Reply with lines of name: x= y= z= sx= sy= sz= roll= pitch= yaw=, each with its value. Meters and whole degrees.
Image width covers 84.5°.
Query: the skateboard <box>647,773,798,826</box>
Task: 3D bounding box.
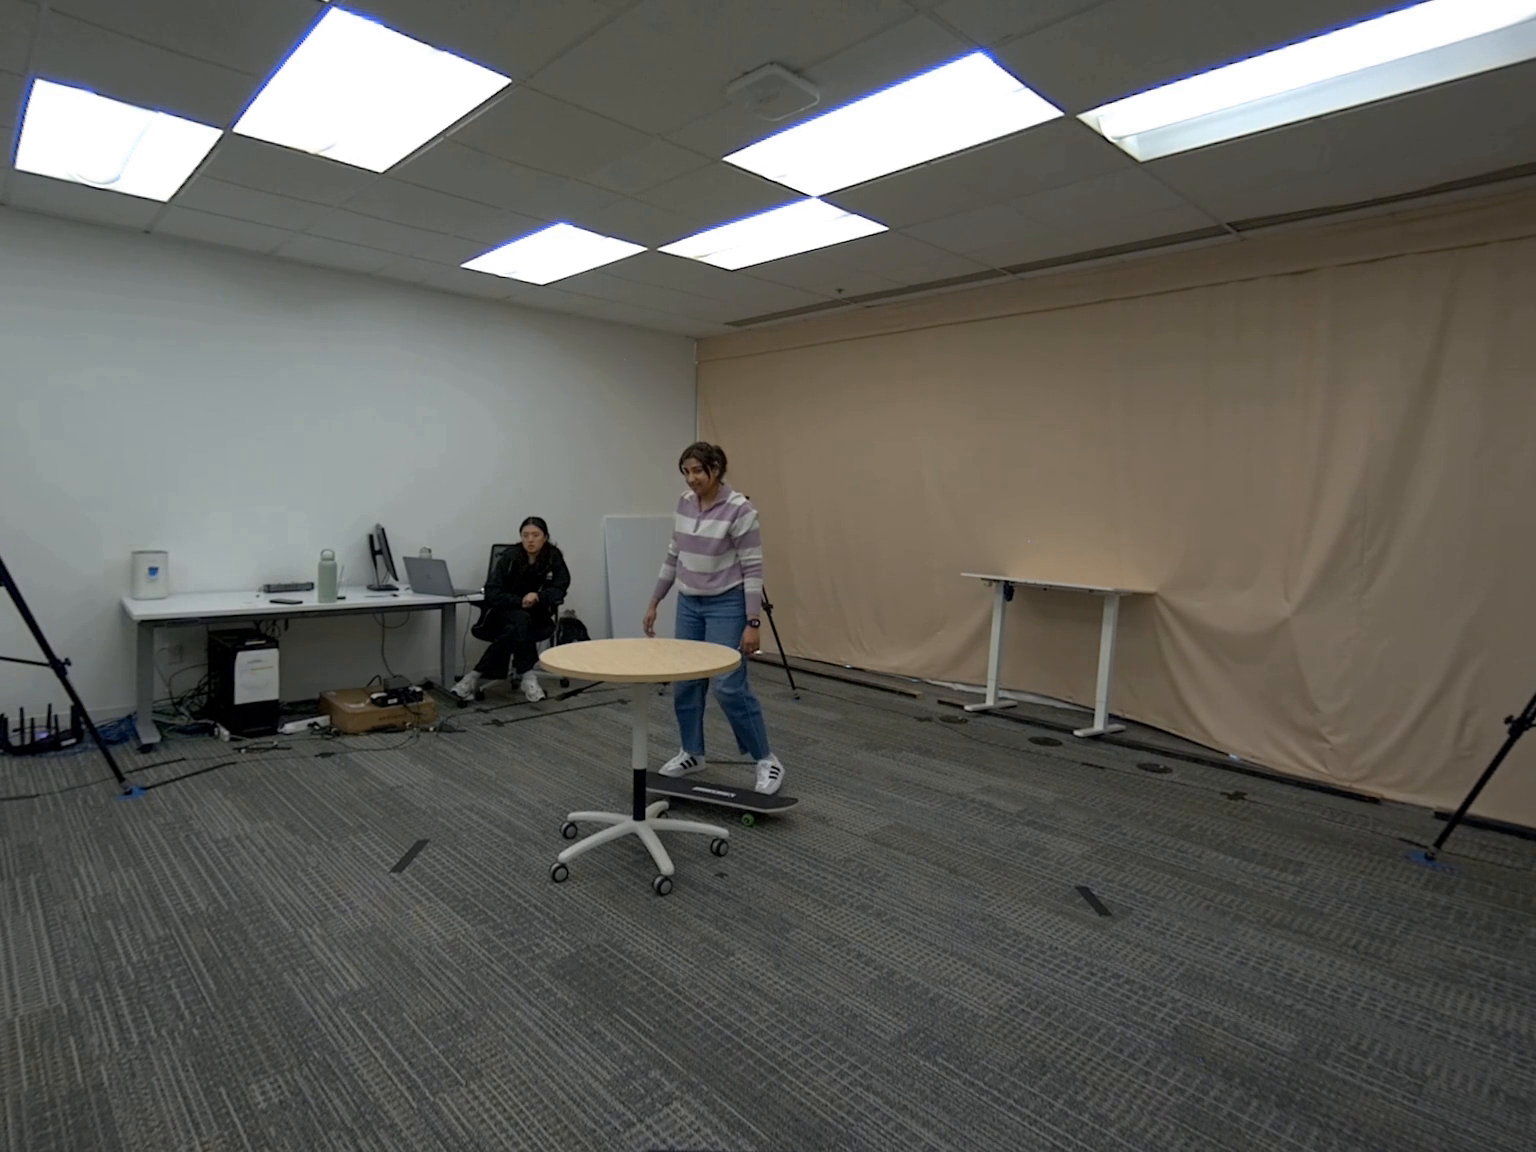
skateboard: x=-0.251 y=0.987 z=3.730 sx=0.800 sy=0.110 sz=0.190 roll=4 pitch=6 yaw=24
